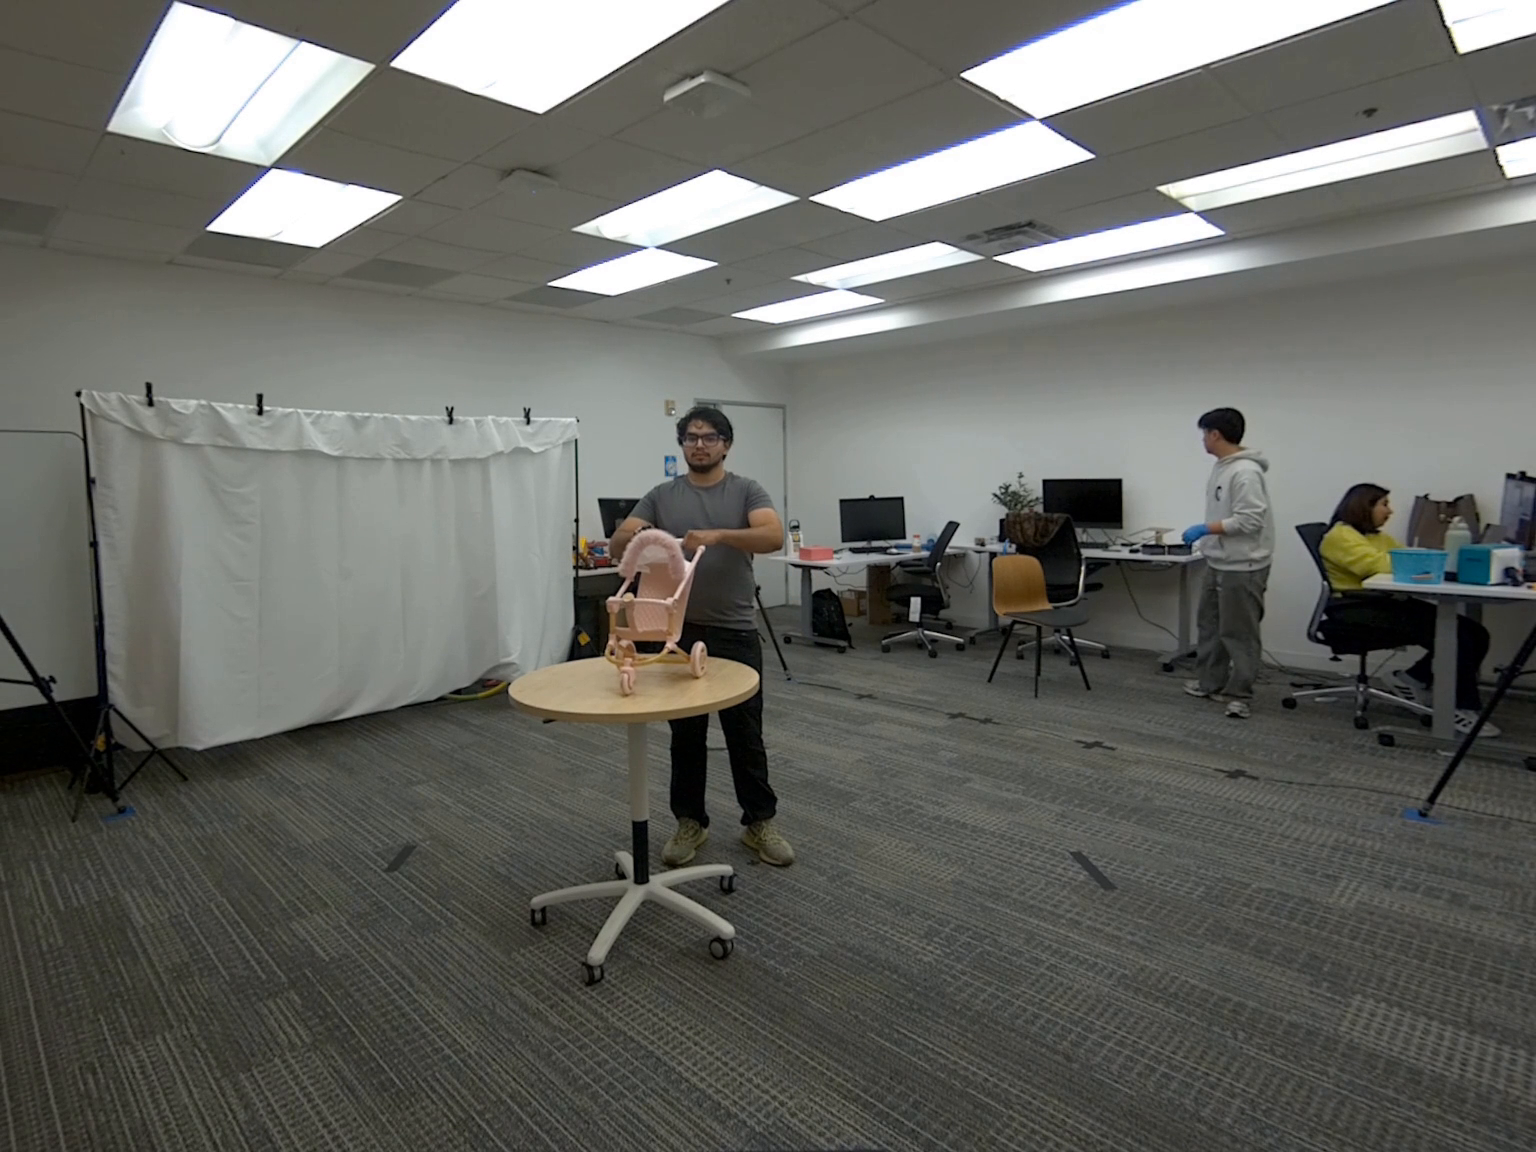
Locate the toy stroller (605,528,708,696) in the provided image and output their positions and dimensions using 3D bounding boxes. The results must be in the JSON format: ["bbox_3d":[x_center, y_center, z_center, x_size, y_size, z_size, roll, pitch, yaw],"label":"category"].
[{"bbox_3d":[-0.361,0.103,2.622,0.287,0.540,0.331,-1,-12,20],"label":"toy stroller"}]
